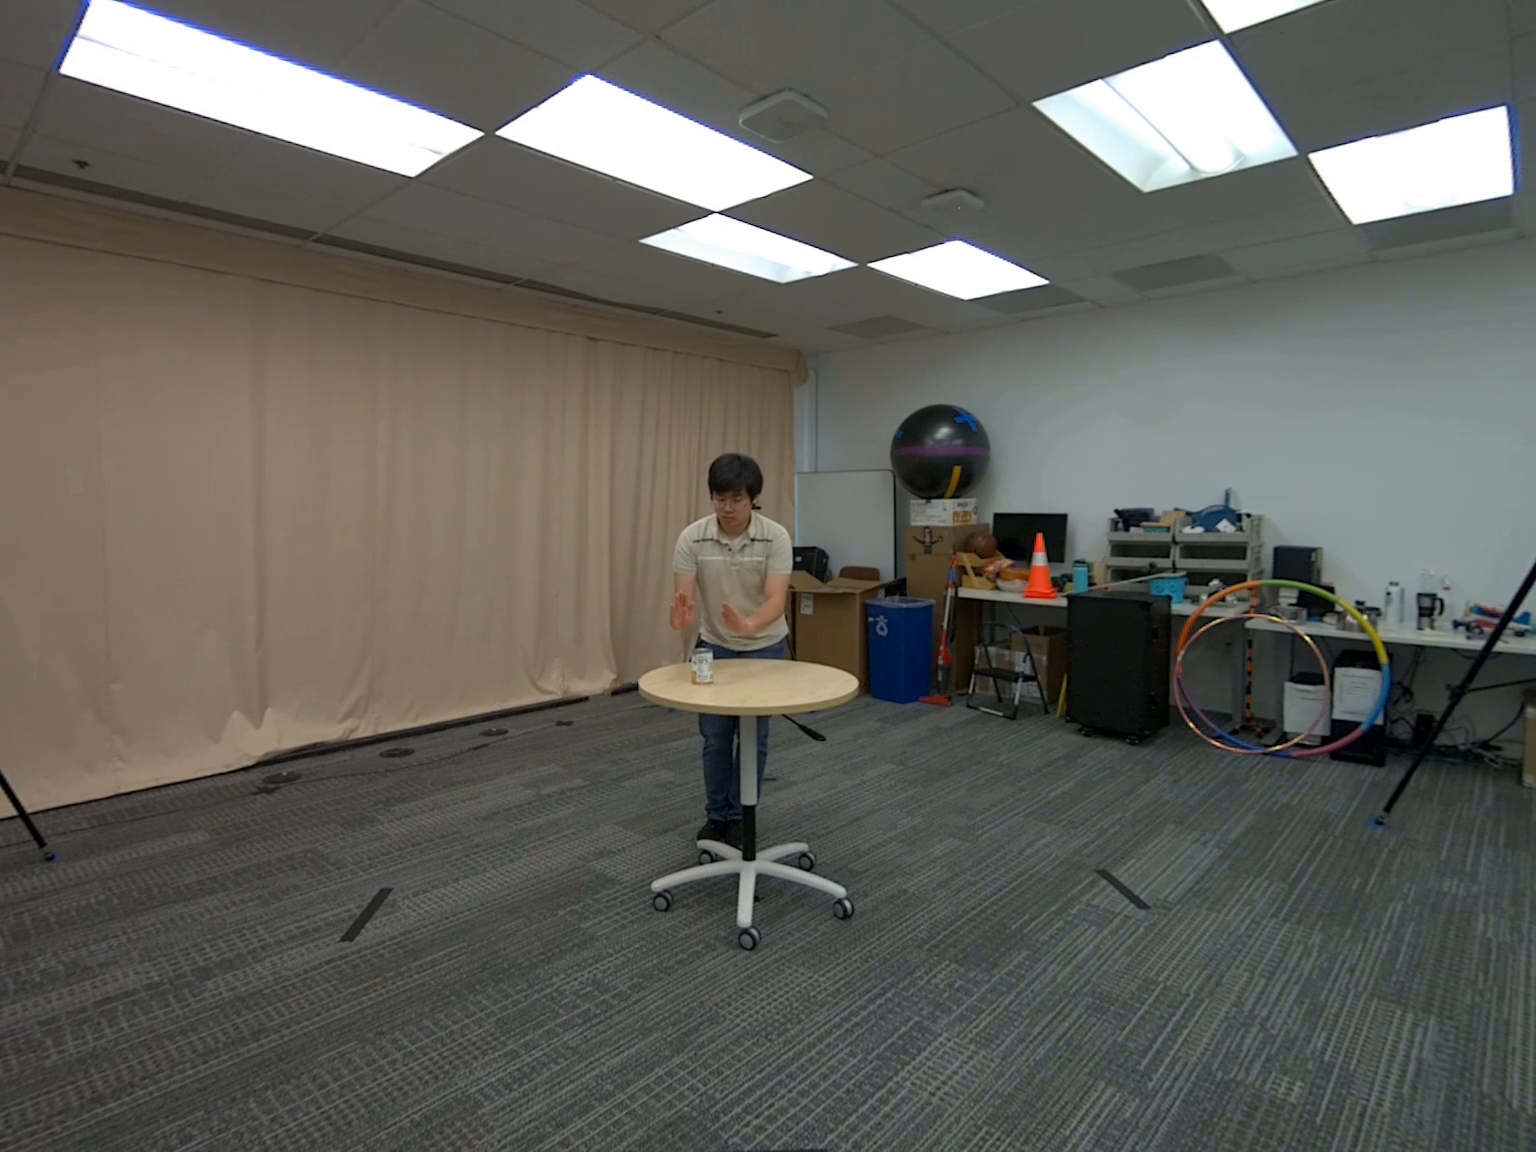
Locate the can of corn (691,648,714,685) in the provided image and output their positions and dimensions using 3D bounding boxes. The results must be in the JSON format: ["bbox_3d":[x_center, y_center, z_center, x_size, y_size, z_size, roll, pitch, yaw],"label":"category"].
[{"bbox_3d":[-0.223,0.312,2.910,0.074,0.111,0.074,1,4,-2],"label":"can of corn"}]
